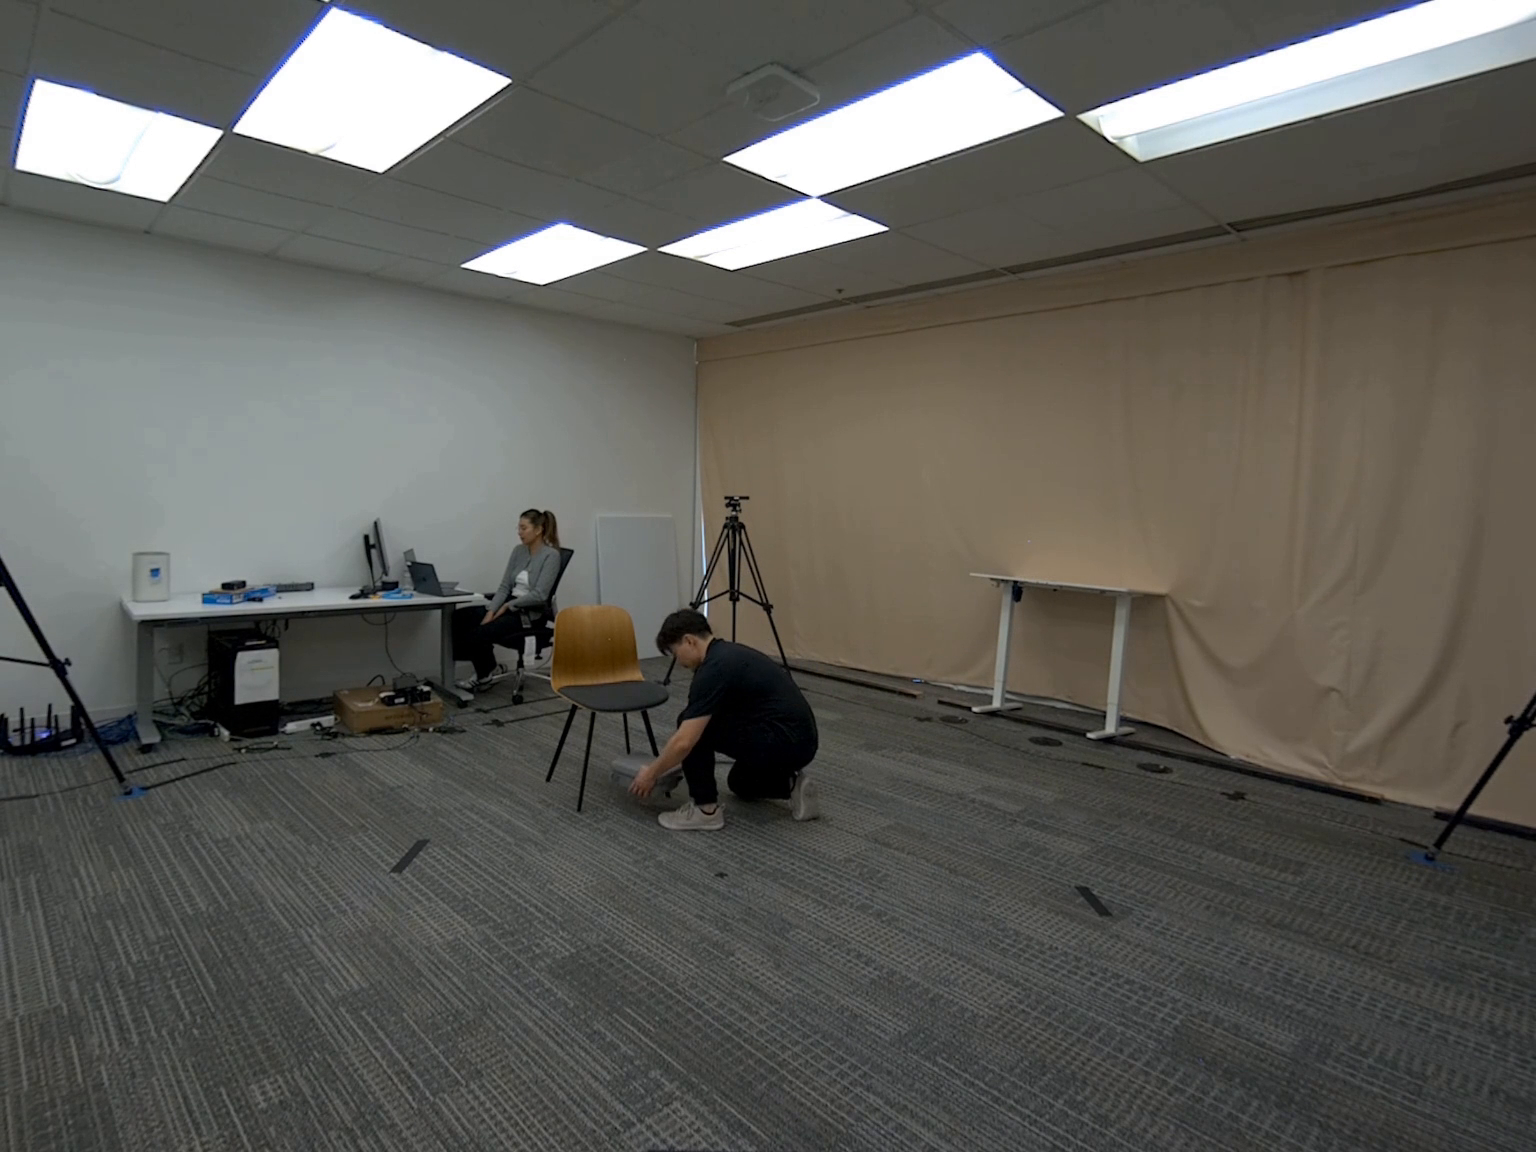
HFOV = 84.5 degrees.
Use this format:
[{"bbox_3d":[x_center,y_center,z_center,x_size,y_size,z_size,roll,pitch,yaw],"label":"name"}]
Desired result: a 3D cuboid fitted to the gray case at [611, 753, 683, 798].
[{"bbox_3d":[-0.546,0.861,3.704,0.265,0.104,0.253,13,6,20],"label":"gray case"}]
